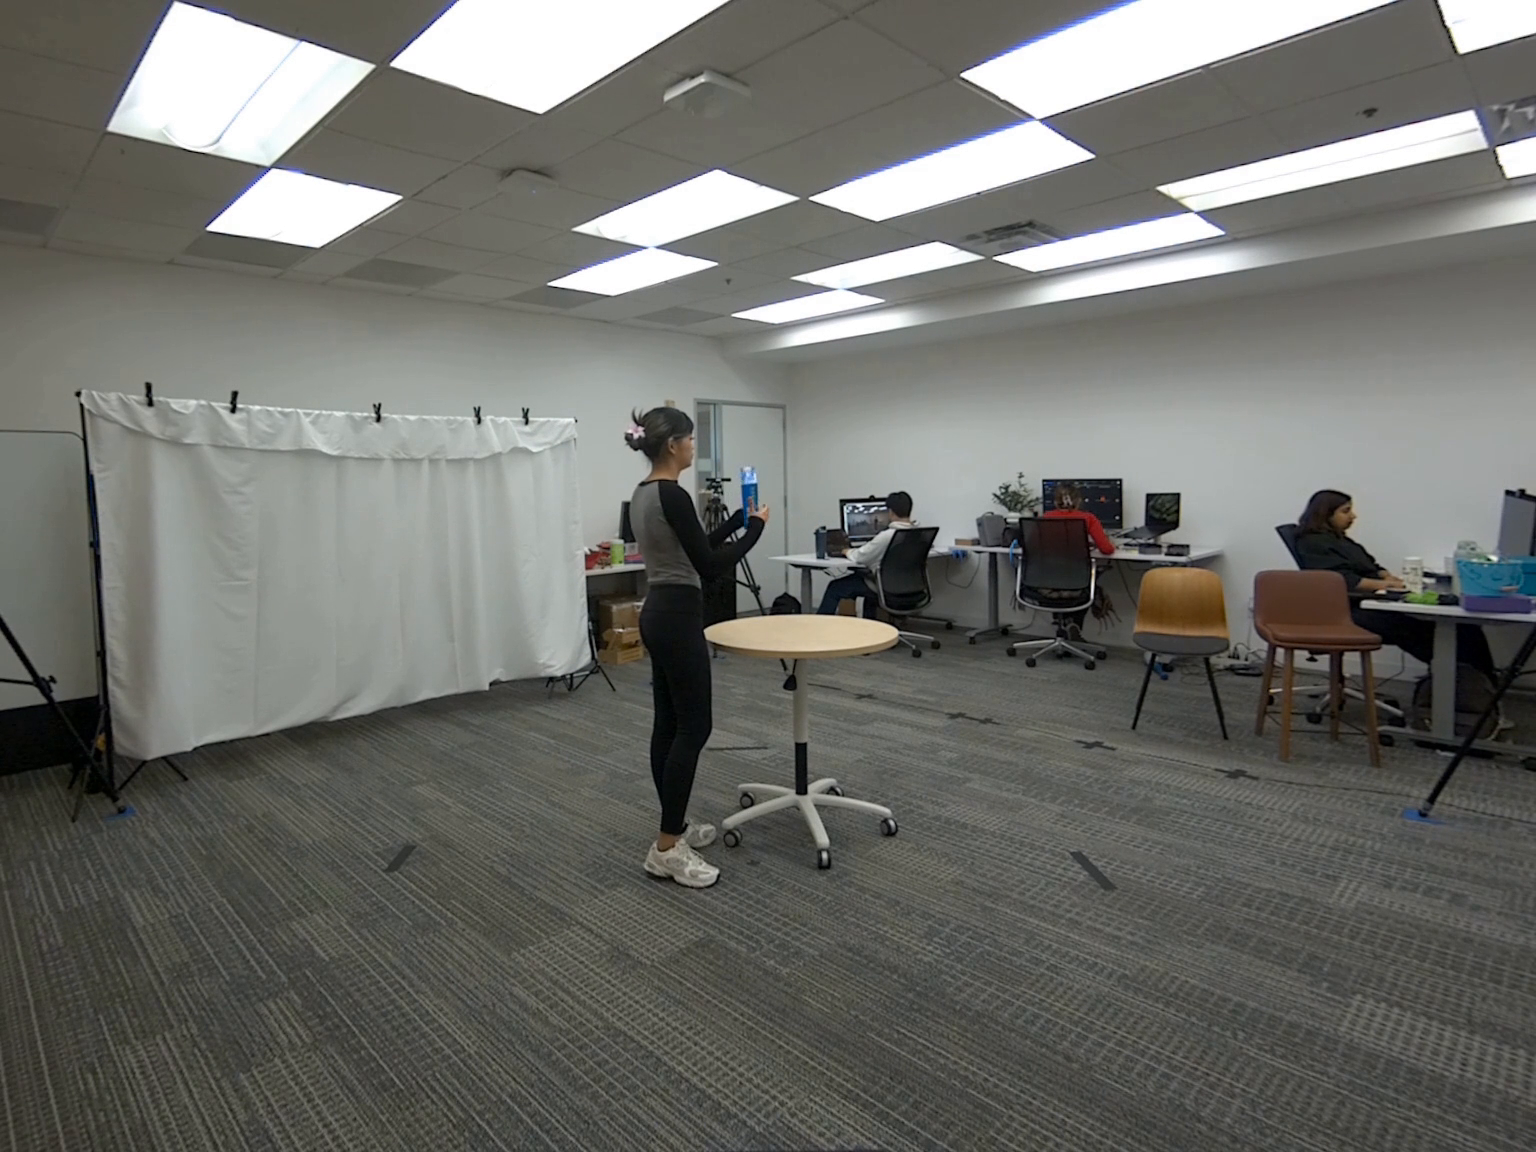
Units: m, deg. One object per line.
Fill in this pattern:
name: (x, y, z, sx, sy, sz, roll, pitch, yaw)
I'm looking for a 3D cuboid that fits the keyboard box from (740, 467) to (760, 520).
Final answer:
keyboard box: (-0.074, -0.308, 3.329, 0.059, 0.173, 0.442, -4, 15, 0)
